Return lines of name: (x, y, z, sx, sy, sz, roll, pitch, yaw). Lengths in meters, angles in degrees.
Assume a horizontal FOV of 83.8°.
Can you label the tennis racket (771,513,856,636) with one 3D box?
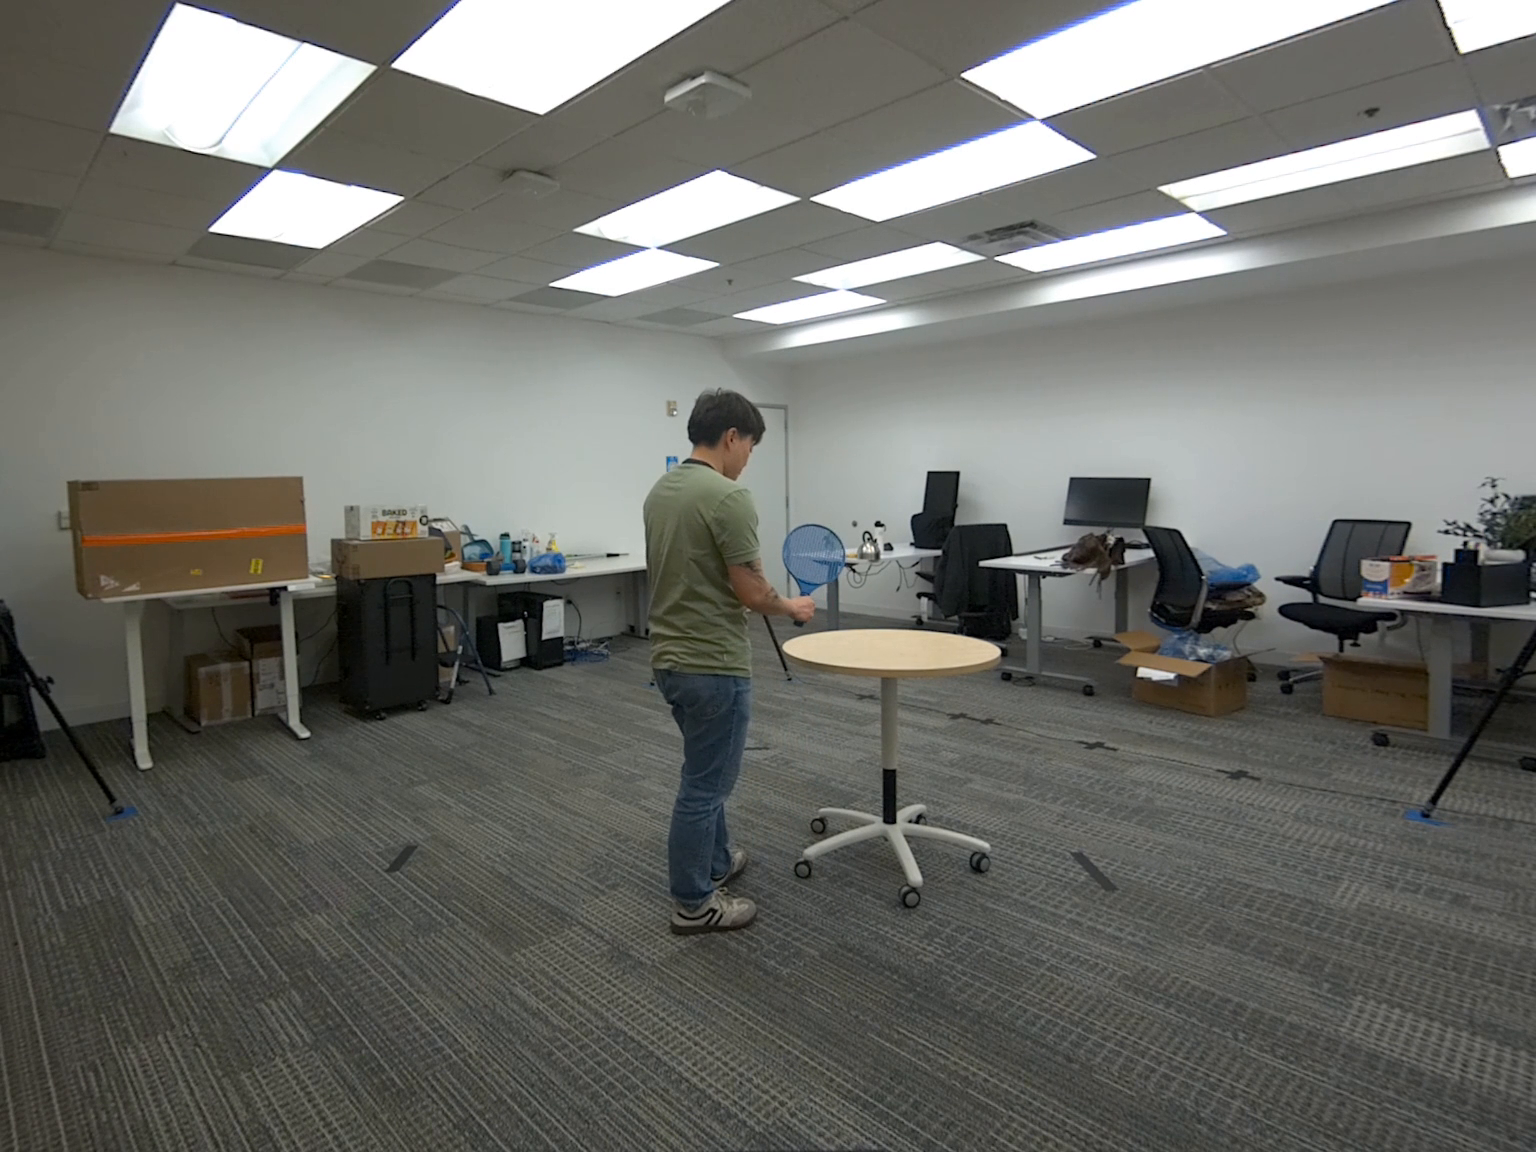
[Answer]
tennis racket: (0.147, -0.016, 2.807, 0.214, 0.031, 0.440, 17, 48, 1)
